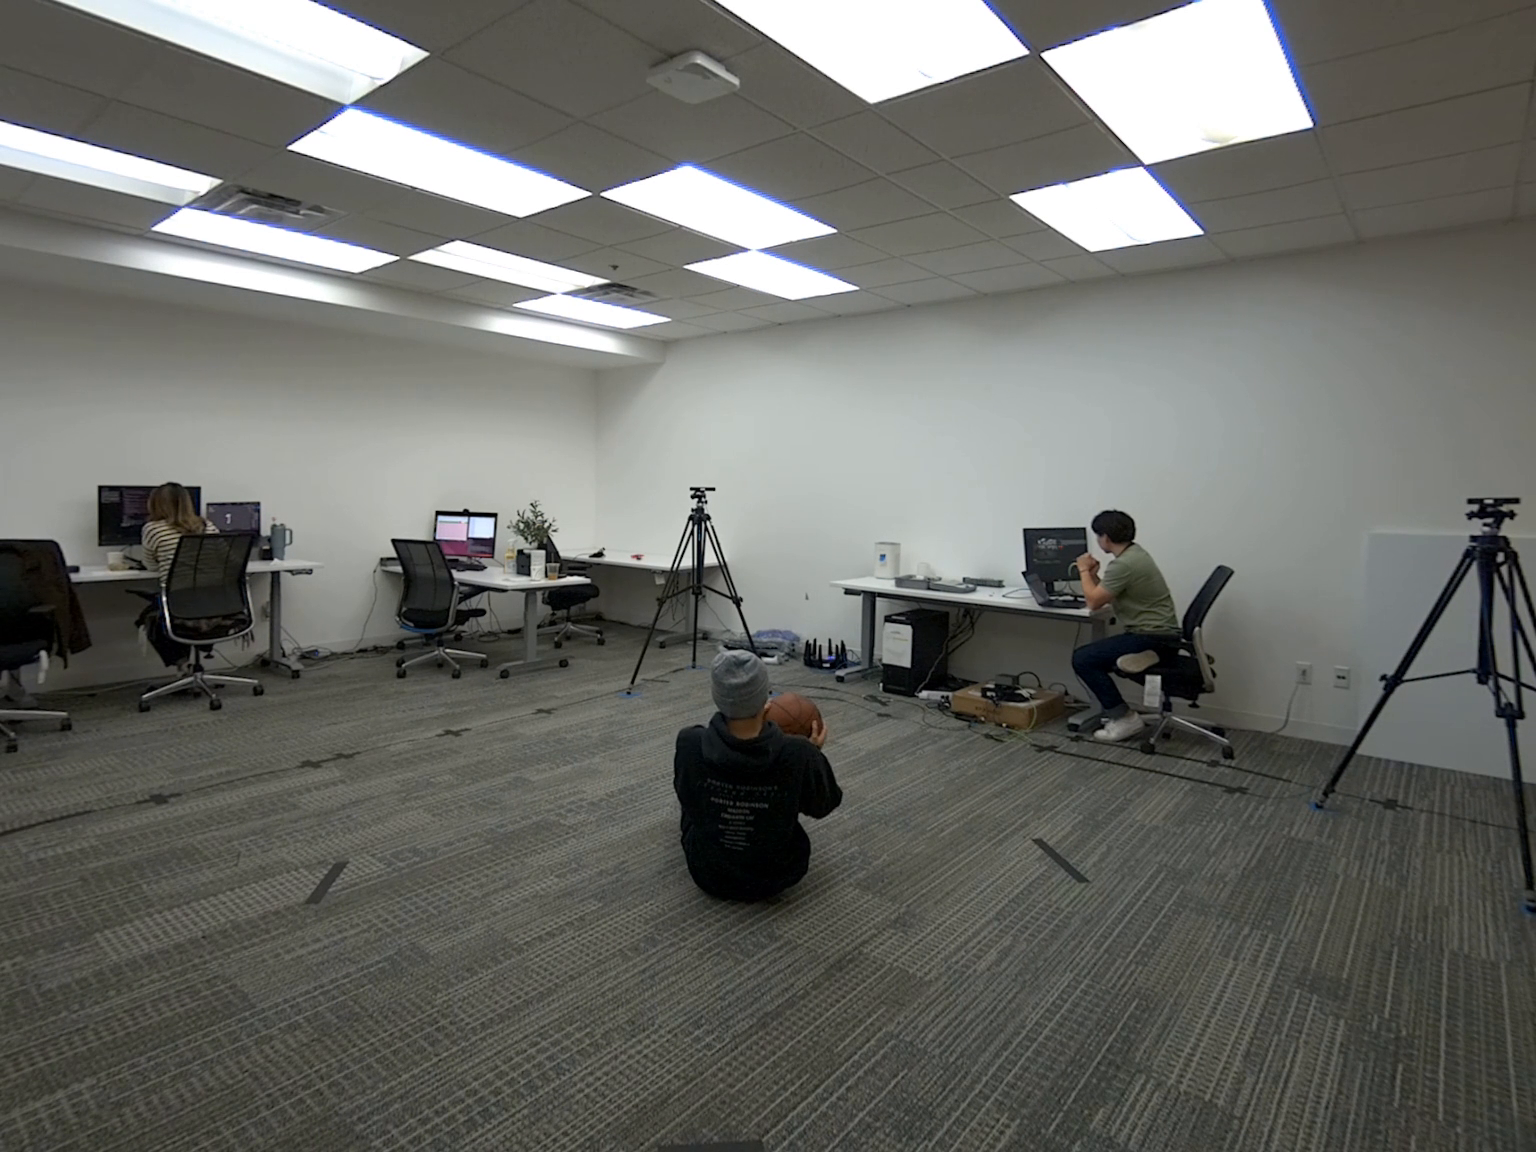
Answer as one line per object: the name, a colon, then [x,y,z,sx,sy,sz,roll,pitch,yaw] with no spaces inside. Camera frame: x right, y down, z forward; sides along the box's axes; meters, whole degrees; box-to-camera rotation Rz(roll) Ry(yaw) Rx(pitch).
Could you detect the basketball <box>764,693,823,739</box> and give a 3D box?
basketball: [0.088,0.567,3.251,0.235,0.235,0.237,1,4,-2]
